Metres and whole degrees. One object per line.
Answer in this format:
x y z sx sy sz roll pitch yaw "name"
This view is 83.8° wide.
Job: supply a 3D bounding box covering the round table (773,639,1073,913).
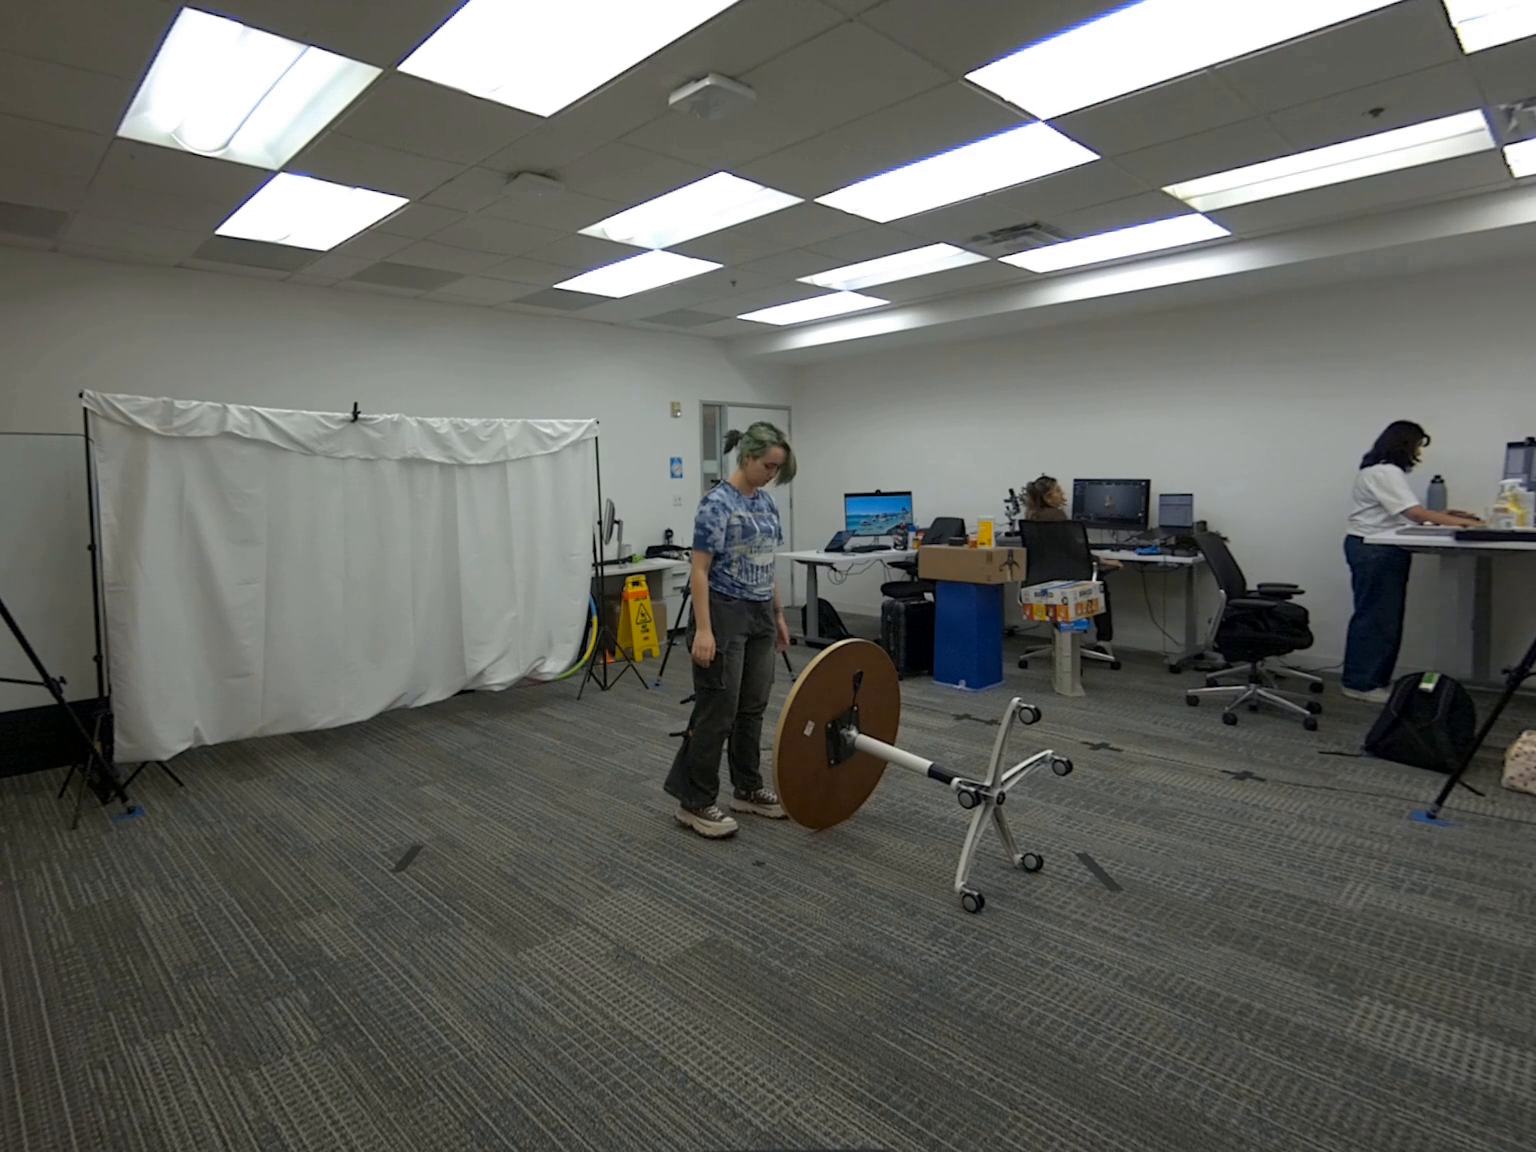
0.565 0.696 3.115 0.744 0.758 0.822 -6 14 -44 "round table"
